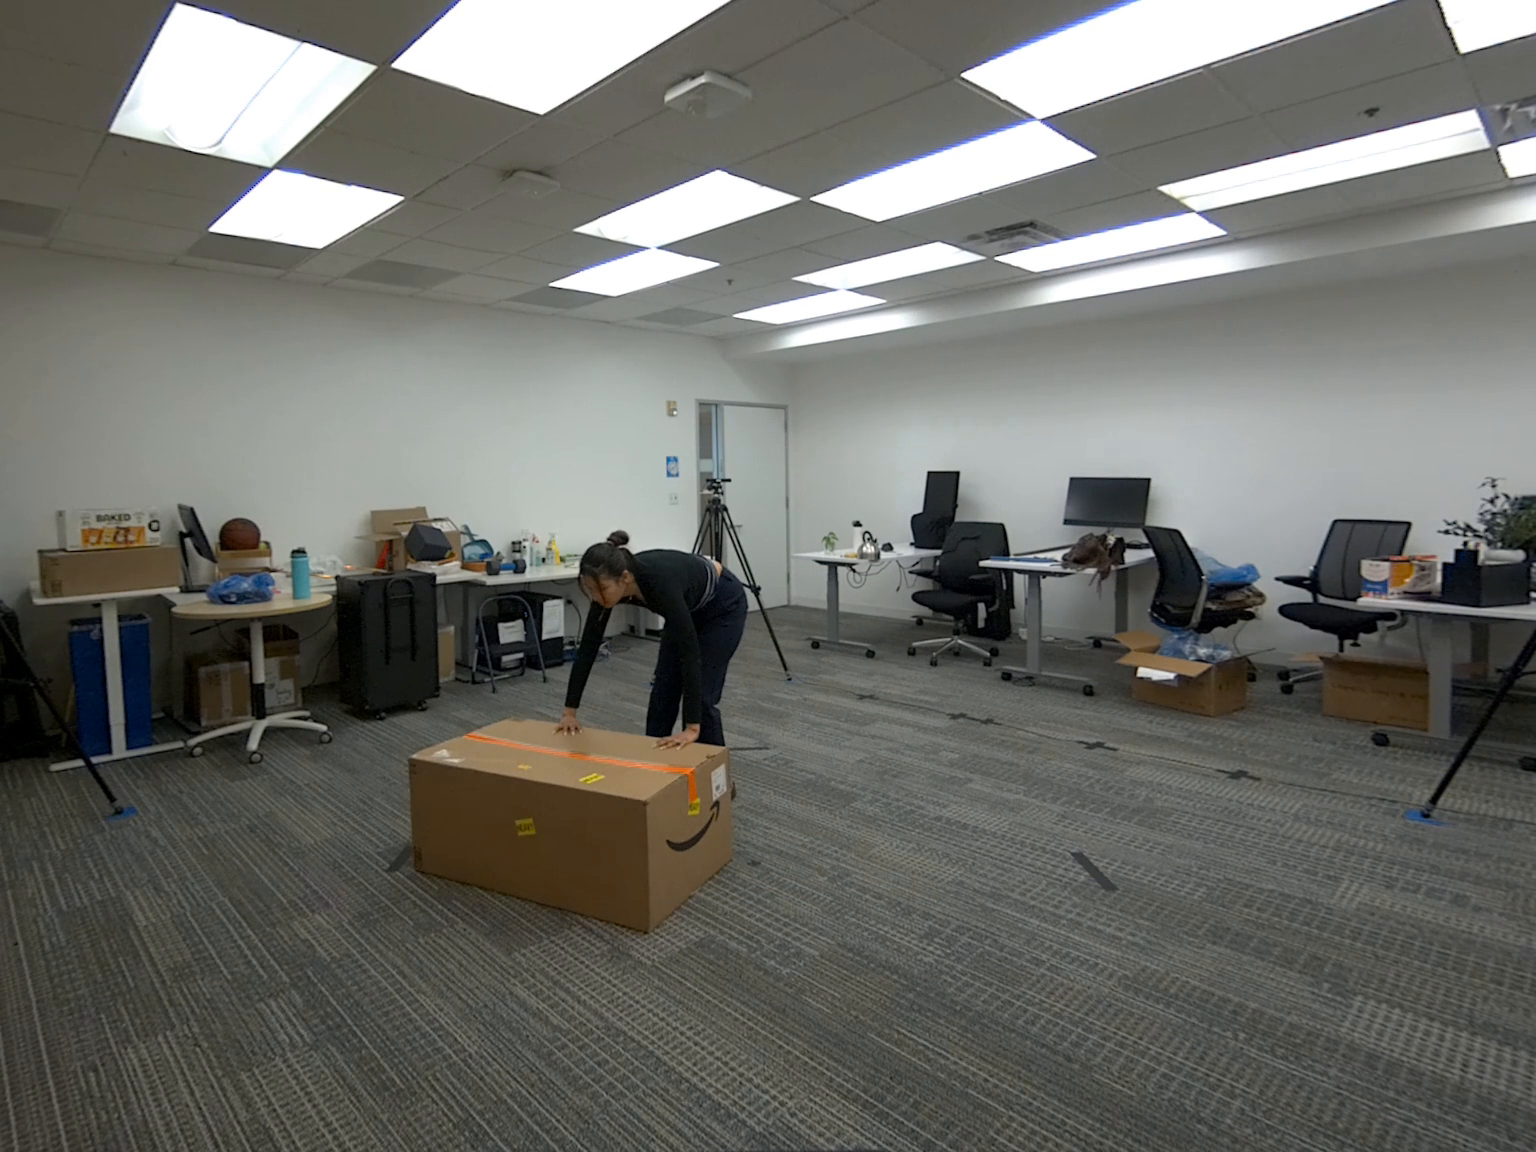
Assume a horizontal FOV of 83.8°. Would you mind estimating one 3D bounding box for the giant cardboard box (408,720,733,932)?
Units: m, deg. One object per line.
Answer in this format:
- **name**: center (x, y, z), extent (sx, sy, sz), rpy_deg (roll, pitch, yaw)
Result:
- **giant cardboard box**: center (-0.713, 0.844, 3.110), extent (1.051, 0.425, 0.566), rpy_deg (2, 5, 27)
